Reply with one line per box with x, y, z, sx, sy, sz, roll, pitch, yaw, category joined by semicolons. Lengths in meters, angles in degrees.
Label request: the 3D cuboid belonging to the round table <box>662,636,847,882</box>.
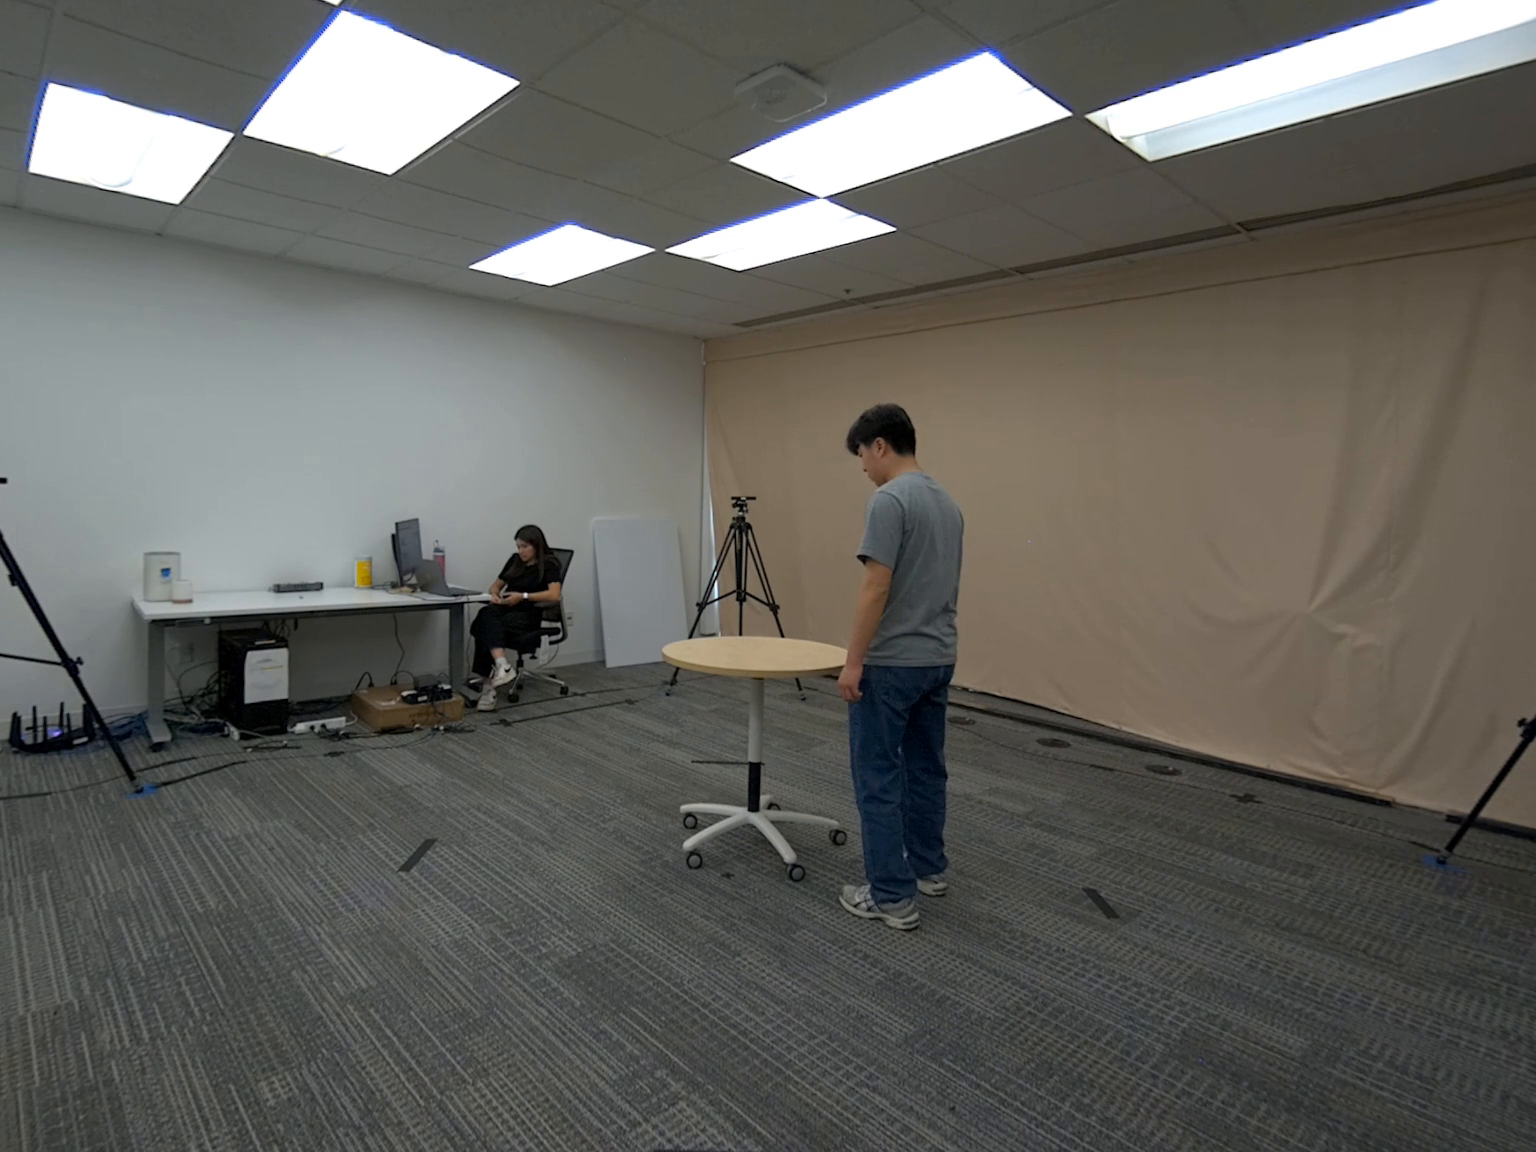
-0.050;0.696;3.371;0.763;0.792;0.766;2;3;-1;round table
